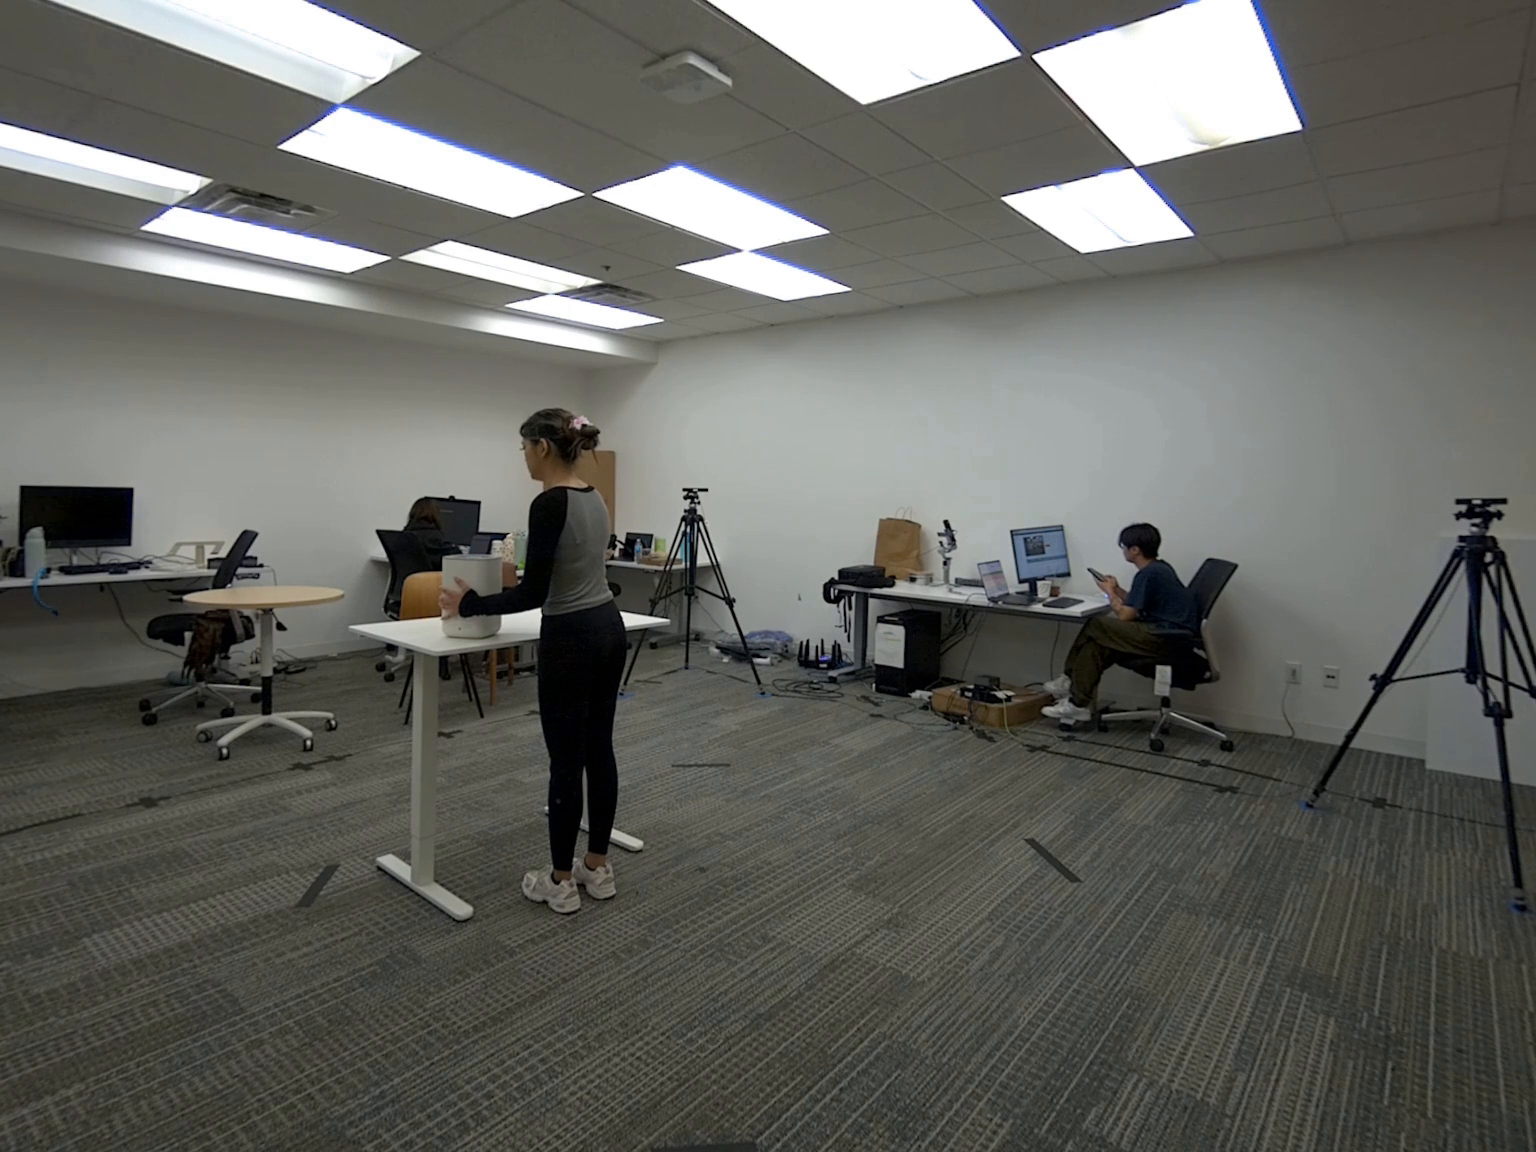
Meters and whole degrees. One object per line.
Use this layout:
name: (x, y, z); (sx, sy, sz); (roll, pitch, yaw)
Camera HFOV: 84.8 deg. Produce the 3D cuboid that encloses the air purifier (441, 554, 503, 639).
air purifier: (-1.012, 0.064, 2.869); (0.173, 0.265, 0.170); (2, 3, 7)
